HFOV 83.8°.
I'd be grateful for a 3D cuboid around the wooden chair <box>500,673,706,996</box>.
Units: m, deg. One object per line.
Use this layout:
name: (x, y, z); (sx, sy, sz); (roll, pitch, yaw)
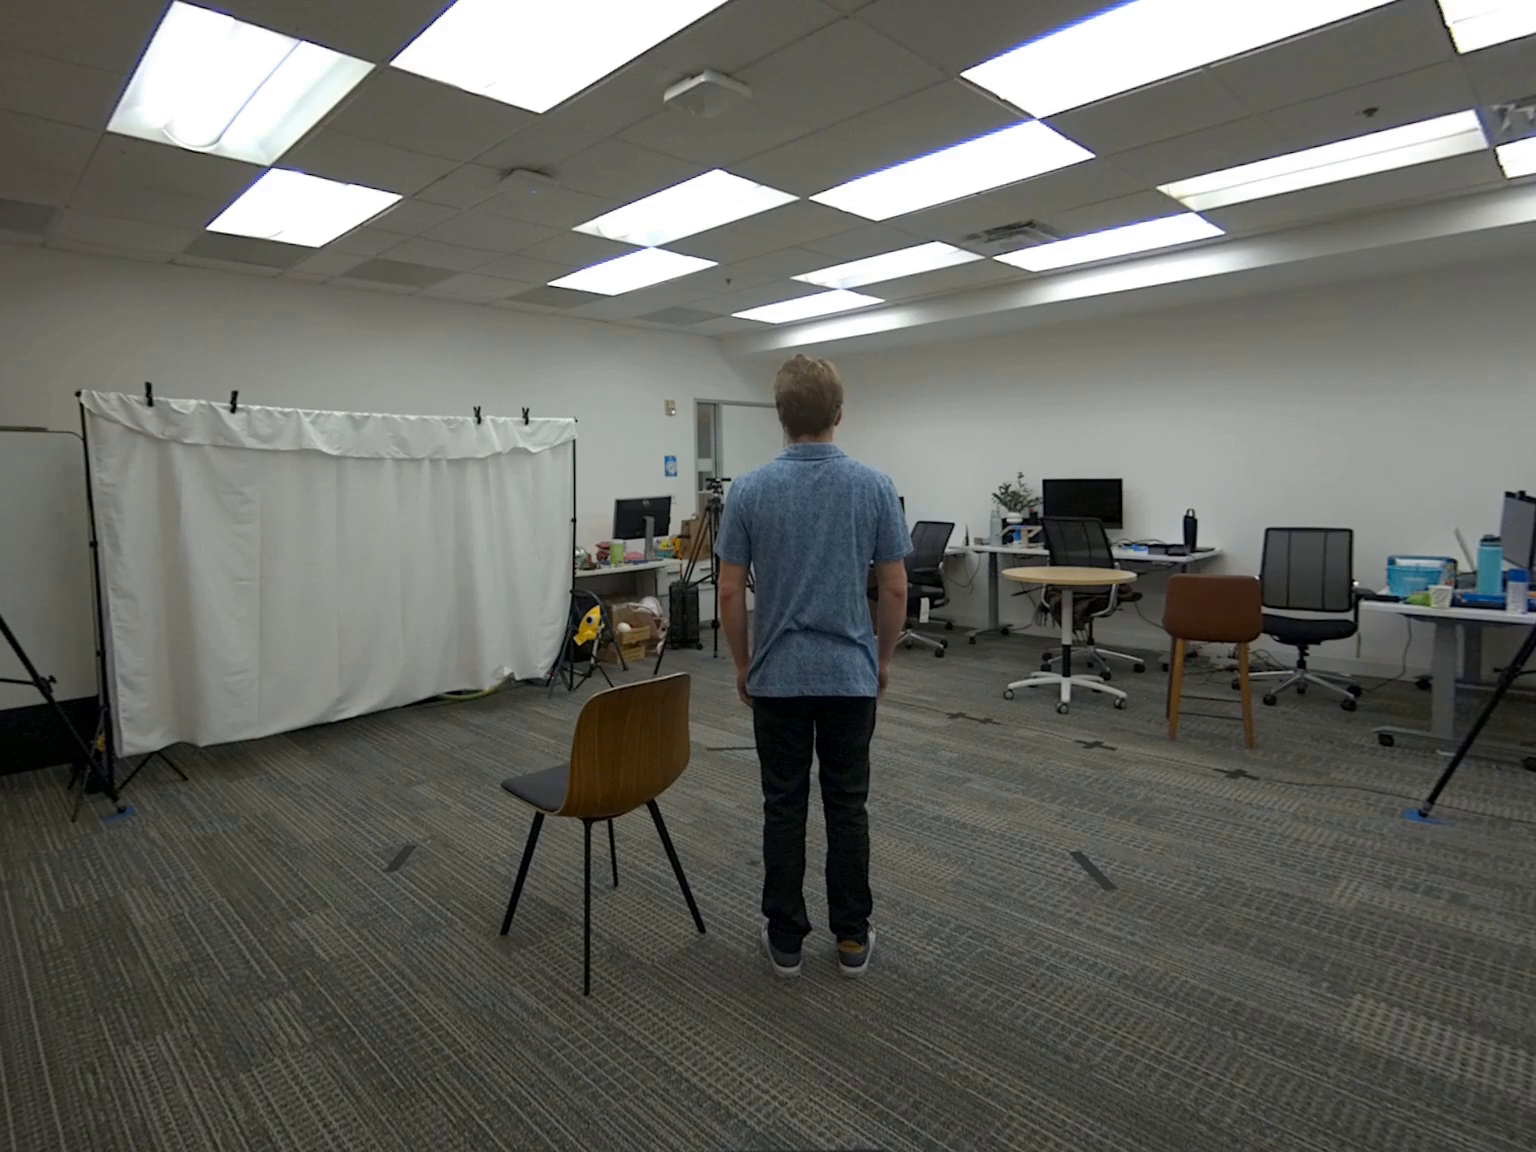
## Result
wooden chair: (-0.517, 0.680, 2.612); (0.541, 0.871, 0.466); (10, 11, 44)
